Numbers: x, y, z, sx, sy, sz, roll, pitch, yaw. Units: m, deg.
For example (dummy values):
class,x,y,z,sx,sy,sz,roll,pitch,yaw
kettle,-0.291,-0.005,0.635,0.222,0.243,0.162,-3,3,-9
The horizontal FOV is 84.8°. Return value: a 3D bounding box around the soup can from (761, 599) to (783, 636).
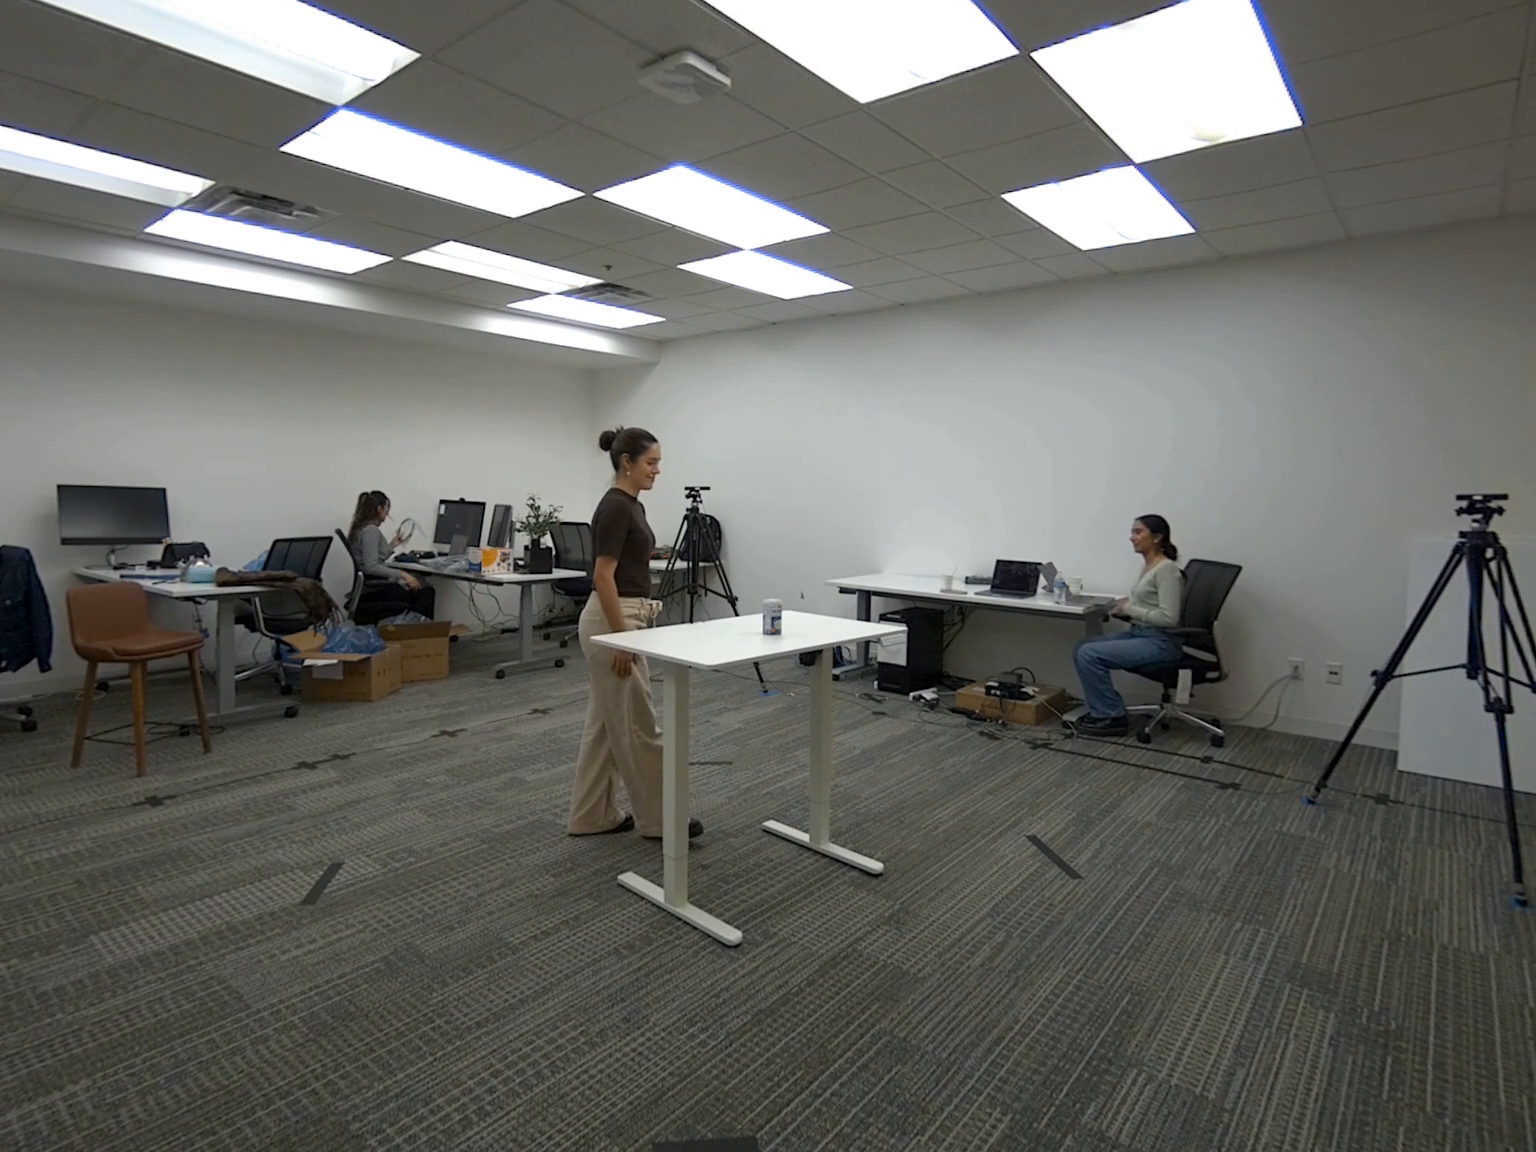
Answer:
class,x,y,z,sx,sy,sz,roll,pitch,yaw
soup can,0.010,0.143,2.962,0.067,0.121,0.067,-2,4,-2
